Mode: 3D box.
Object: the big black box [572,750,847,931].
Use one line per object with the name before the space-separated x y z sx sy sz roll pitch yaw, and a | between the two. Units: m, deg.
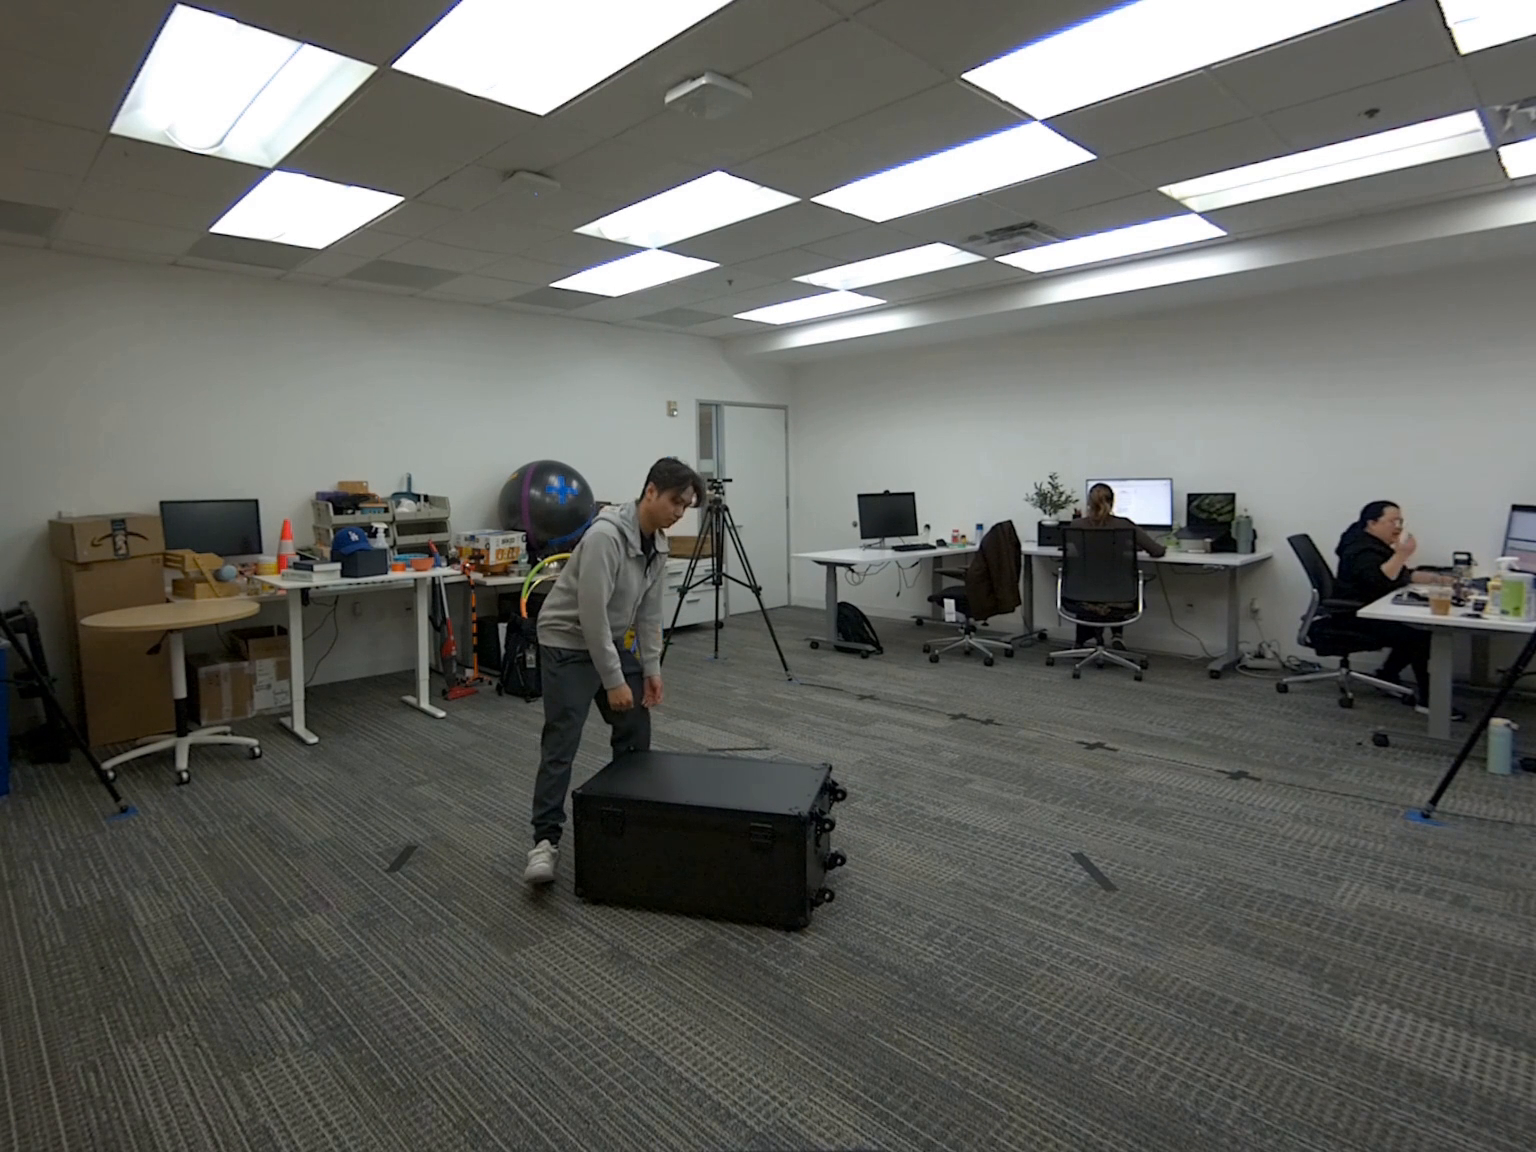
big black box | -0.175 0.874 2.922 0.875 0.395 0.516 0 6 15
